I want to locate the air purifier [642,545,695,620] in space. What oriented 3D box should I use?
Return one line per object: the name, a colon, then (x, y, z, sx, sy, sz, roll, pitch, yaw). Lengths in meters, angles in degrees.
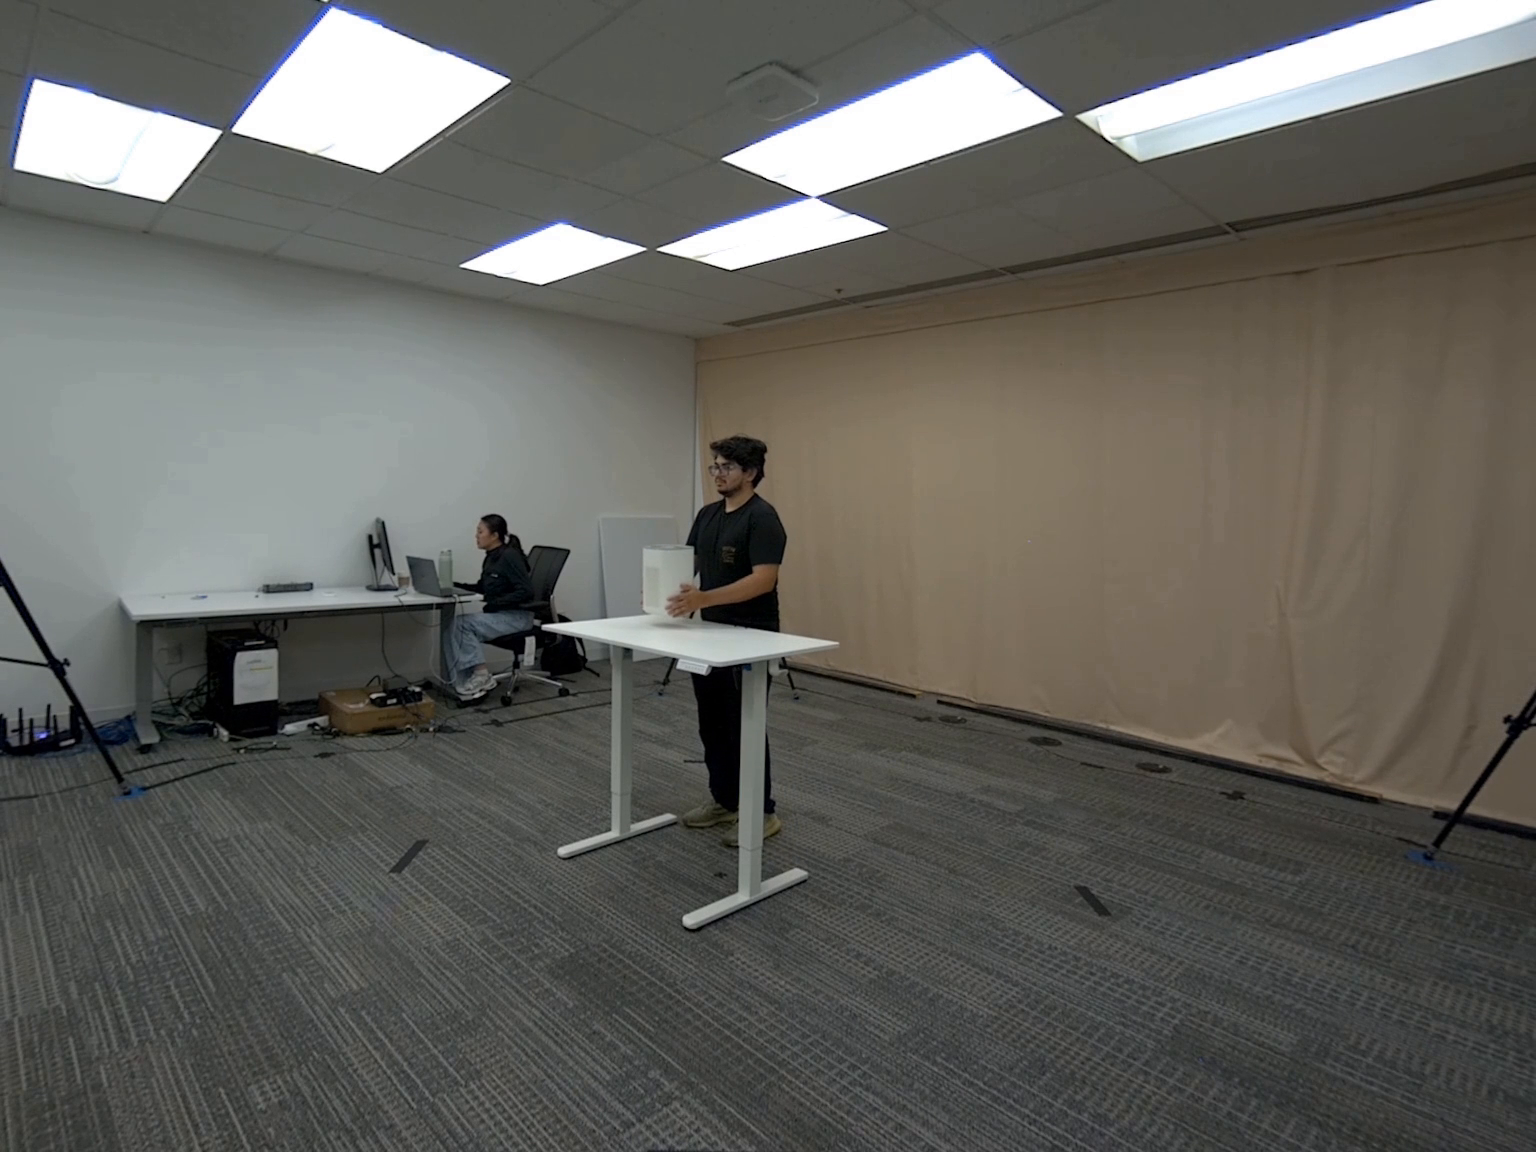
air purifier: (-0.400, 0.014, 3.301, 0.176, 0.264, 0.167, 6, 7, 44)
